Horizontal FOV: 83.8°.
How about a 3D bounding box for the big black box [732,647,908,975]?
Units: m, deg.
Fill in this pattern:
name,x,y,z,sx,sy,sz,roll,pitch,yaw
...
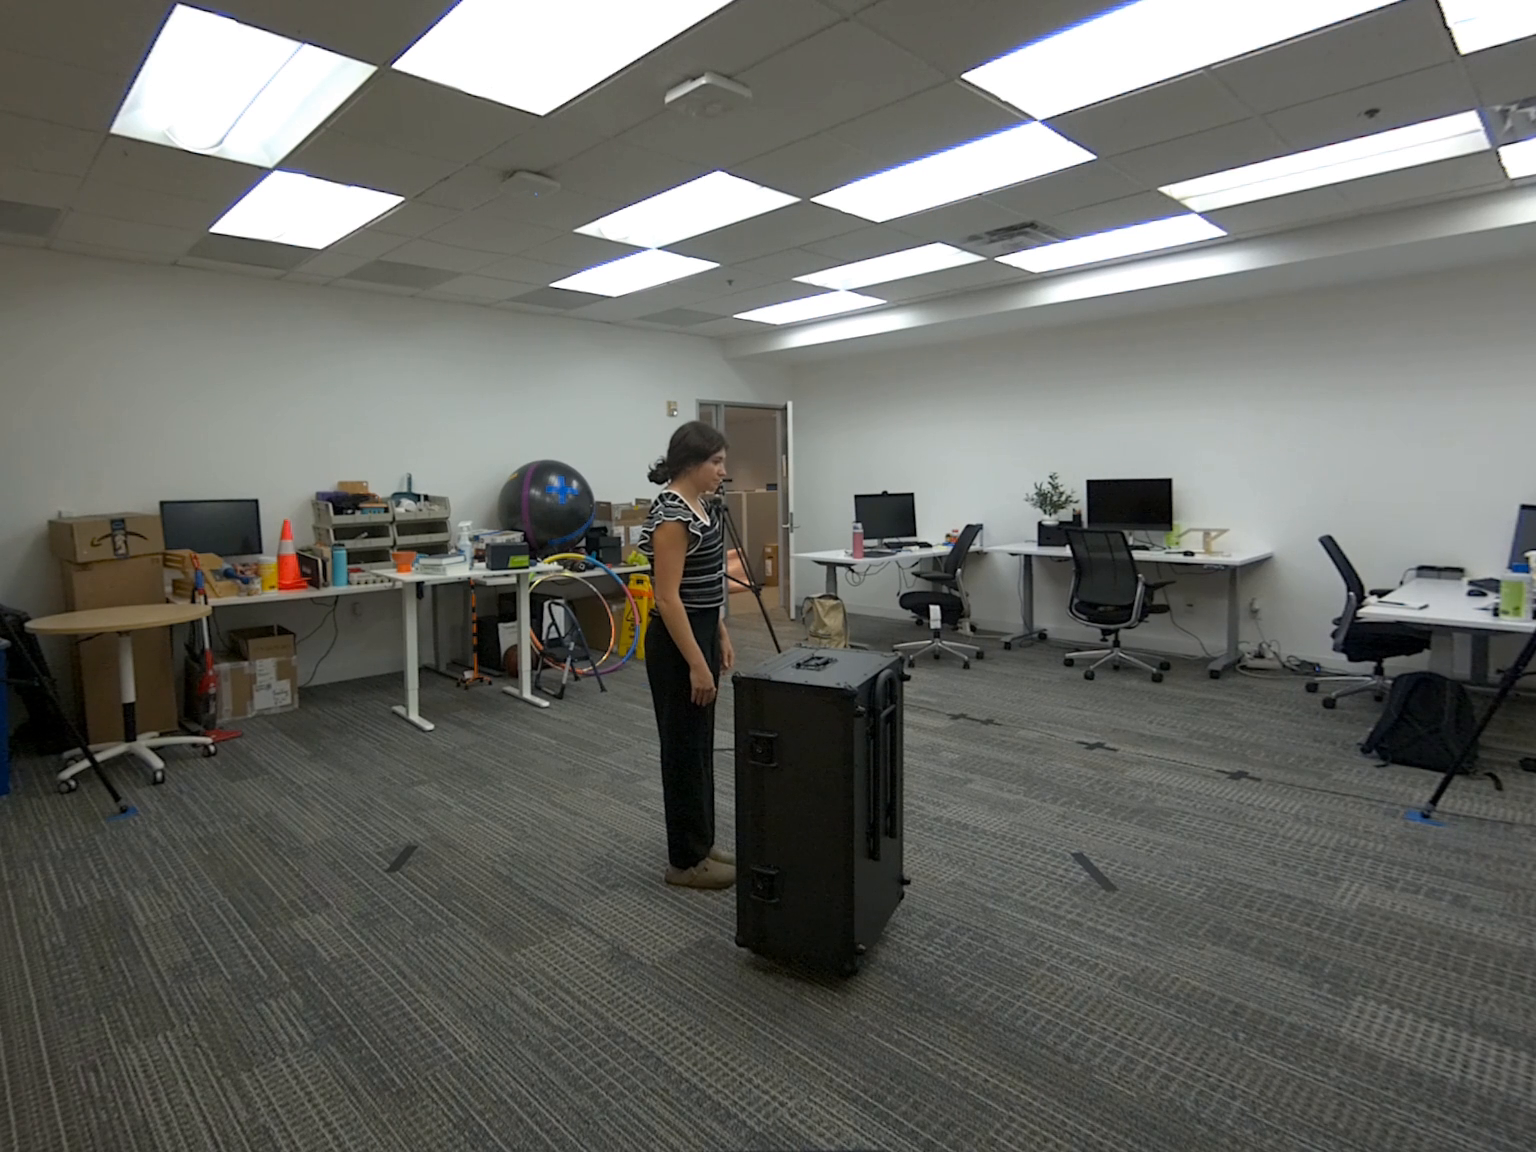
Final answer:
name,x,y,z,sx,sy,sz,roll,pitch,yaw
big black box,0.183,0.688,2.536,0.405,0.857,0.512,2,6,24
